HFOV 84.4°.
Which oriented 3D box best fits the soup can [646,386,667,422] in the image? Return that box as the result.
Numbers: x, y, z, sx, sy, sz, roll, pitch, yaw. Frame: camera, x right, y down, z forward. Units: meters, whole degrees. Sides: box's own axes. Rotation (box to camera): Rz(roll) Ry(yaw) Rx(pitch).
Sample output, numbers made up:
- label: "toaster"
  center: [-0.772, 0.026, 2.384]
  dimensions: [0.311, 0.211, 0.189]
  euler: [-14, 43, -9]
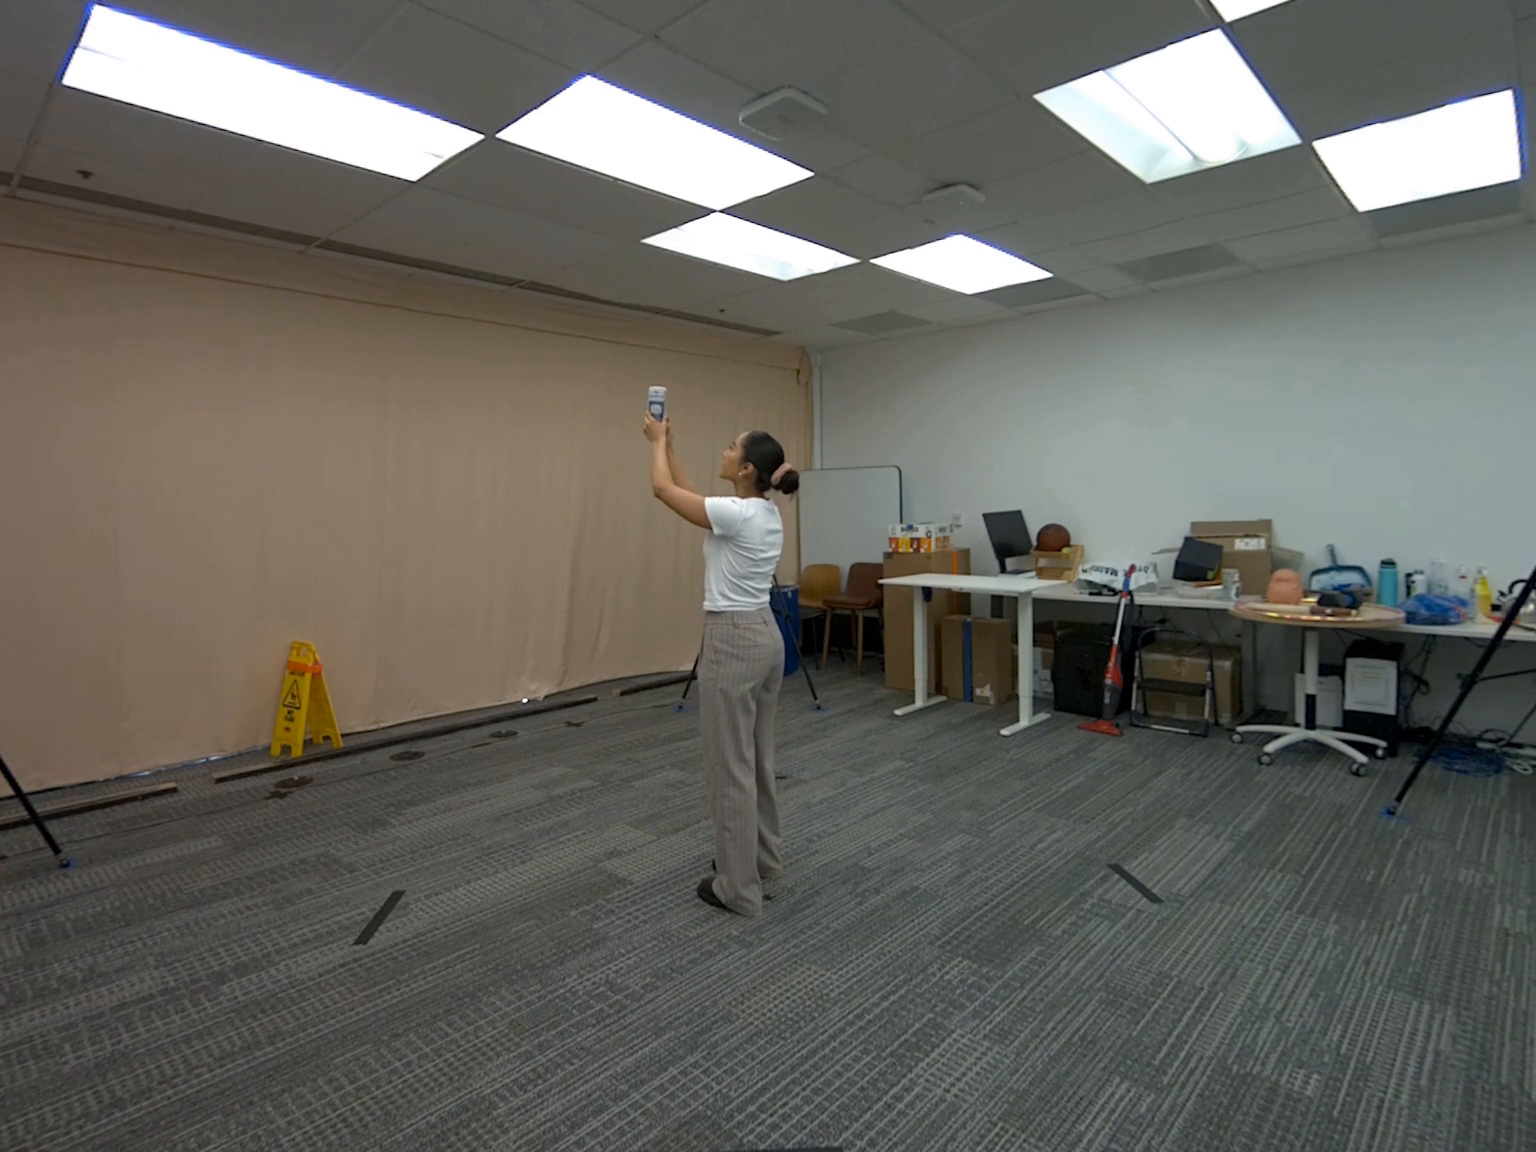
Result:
- label: "soup can"
  center: [-0.411, -0.645, 3.144]
  dimensions: [0.067, 0.121, 0.067]
  euler: [2, 2, -2]
